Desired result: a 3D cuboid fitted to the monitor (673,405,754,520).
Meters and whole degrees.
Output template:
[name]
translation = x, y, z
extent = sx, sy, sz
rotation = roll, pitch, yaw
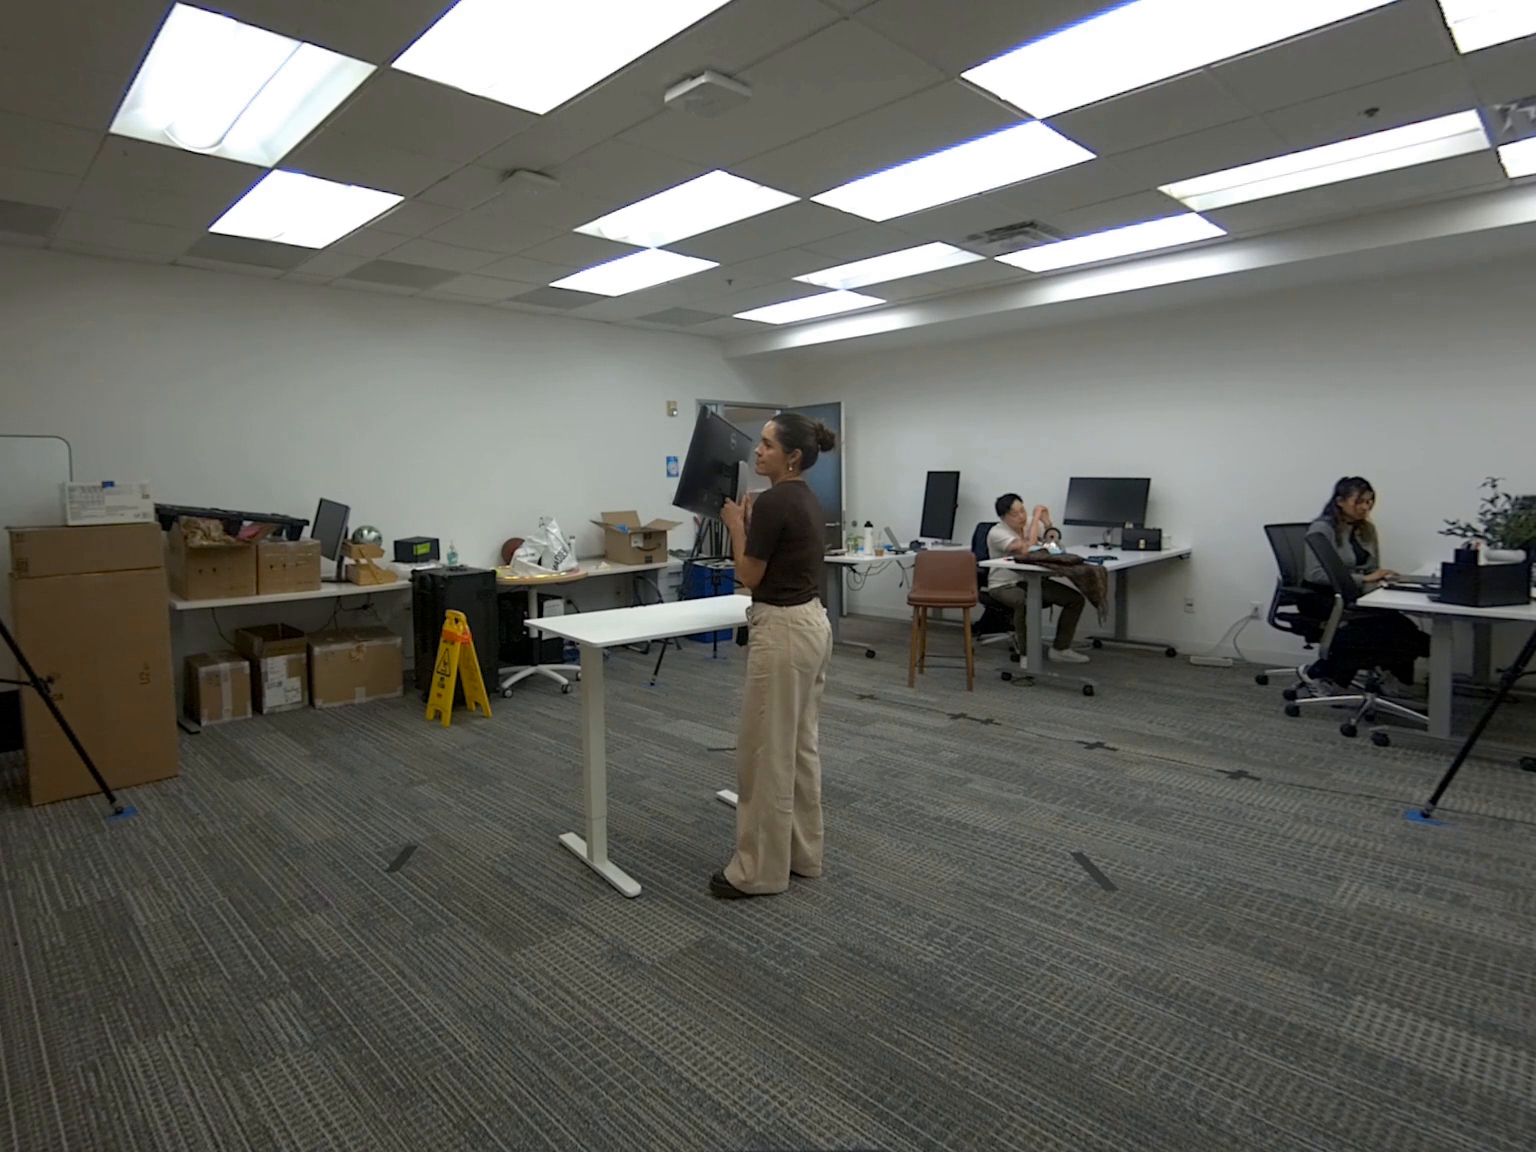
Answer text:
[monitor]
translation = -0.161, -0.300, 3.070
extent = 0.190, 0.525, 0.527
rotation = 1, -6, 16
